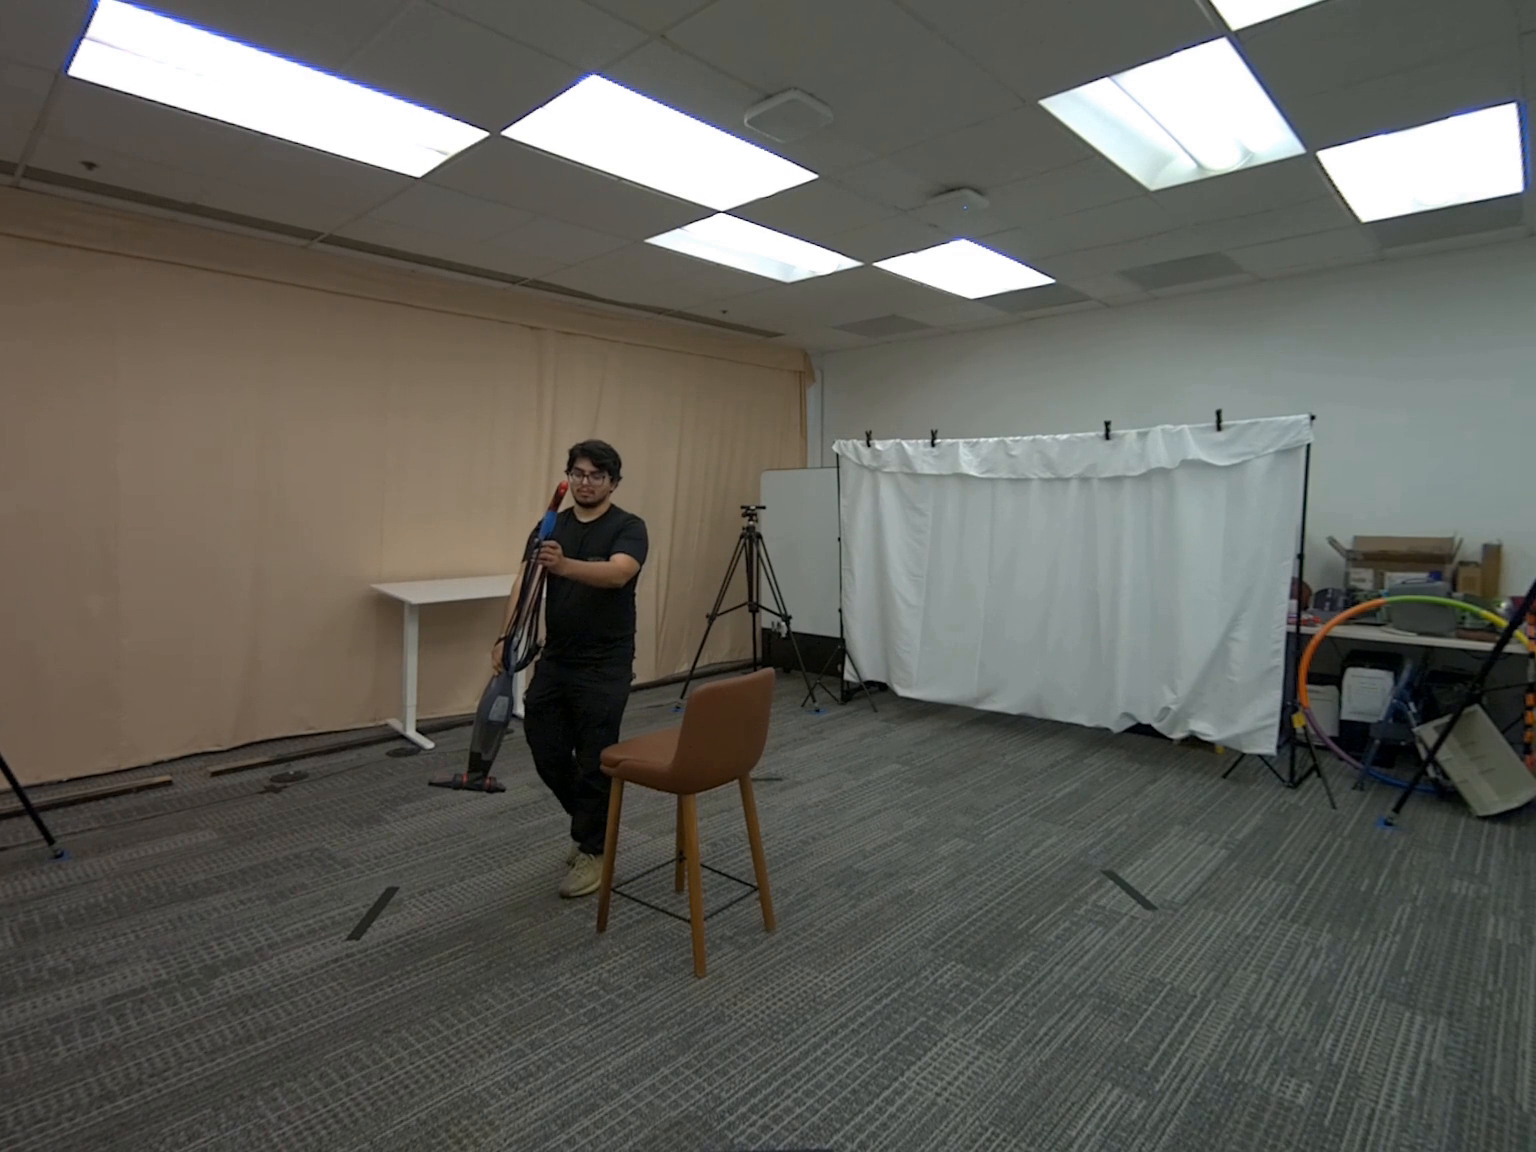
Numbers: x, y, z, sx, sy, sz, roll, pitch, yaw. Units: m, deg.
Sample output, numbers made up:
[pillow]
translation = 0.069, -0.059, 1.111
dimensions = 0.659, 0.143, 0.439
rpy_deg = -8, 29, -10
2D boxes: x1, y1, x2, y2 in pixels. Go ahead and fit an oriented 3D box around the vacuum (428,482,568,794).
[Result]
[vacuum]
translation = -0.799, 0.201, 2.656
dimensions = 0.247, 1.047, 0.147
rpy_deg = 16, 11, -19
